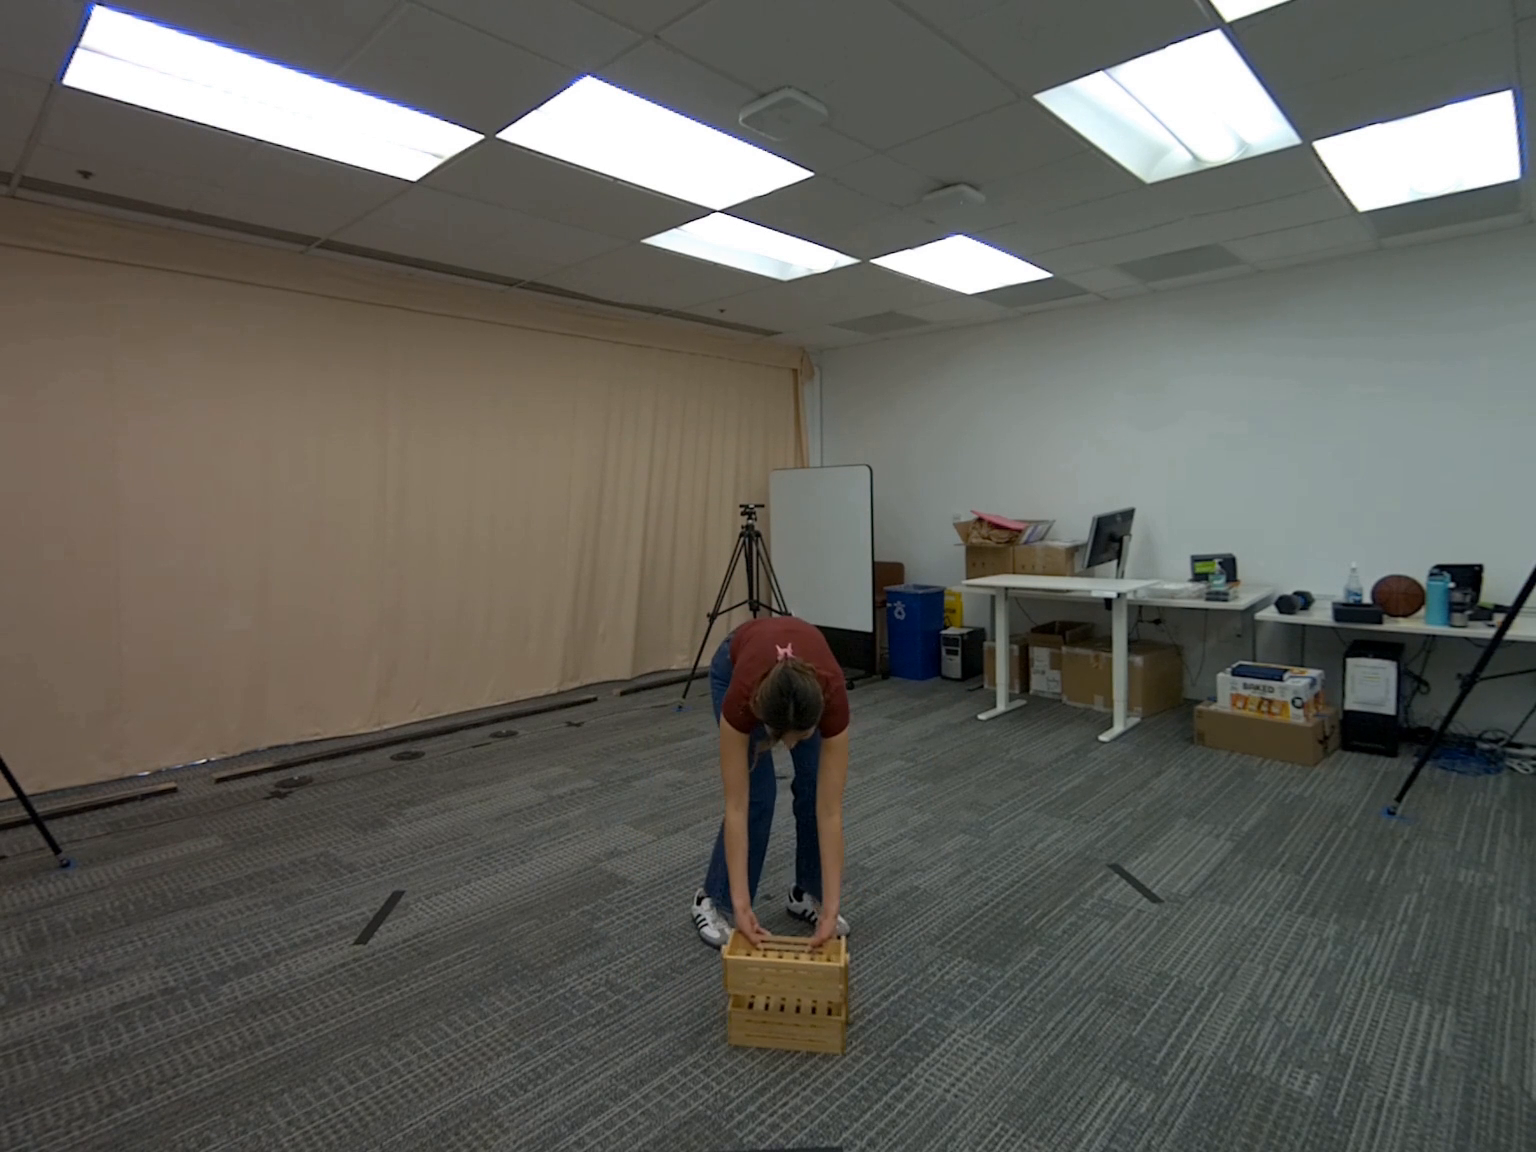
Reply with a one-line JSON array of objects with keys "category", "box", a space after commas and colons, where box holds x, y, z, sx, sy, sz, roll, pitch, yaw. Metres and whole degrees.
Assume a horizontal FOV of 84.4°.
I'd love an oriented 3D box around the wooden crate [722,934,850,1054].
[{"category": "wooden crate", "box": [0.050, 1.068, 2.247, 0.327, 0.272, 0.300, 0, 5, 7]}]
